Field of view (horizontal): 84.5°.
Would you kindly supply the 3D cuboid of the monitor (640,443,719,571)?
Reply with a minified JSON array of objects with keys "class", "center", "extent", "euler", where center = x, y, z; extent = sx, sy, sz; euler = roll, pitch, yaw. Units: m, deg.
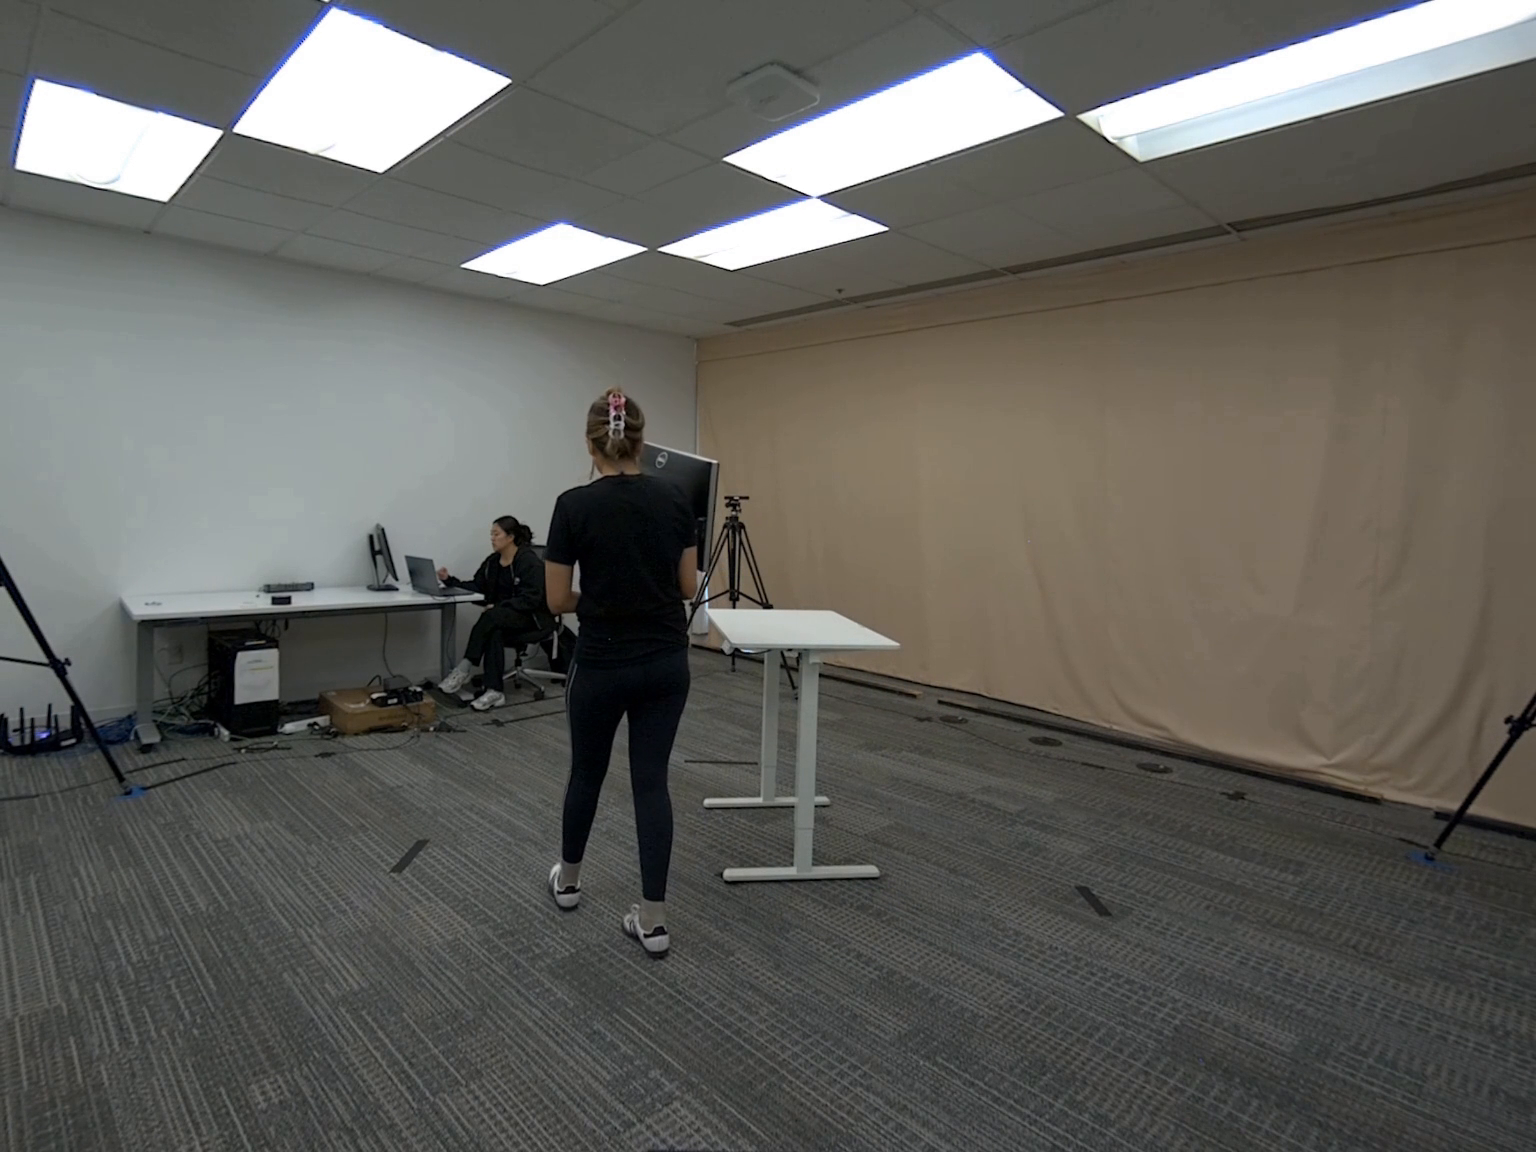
[{"class":"monitor","center":[-0.401,-0.176,2.888],"extent":[0.182,0.521,0.555],"euler":[11,8,-40]}]
